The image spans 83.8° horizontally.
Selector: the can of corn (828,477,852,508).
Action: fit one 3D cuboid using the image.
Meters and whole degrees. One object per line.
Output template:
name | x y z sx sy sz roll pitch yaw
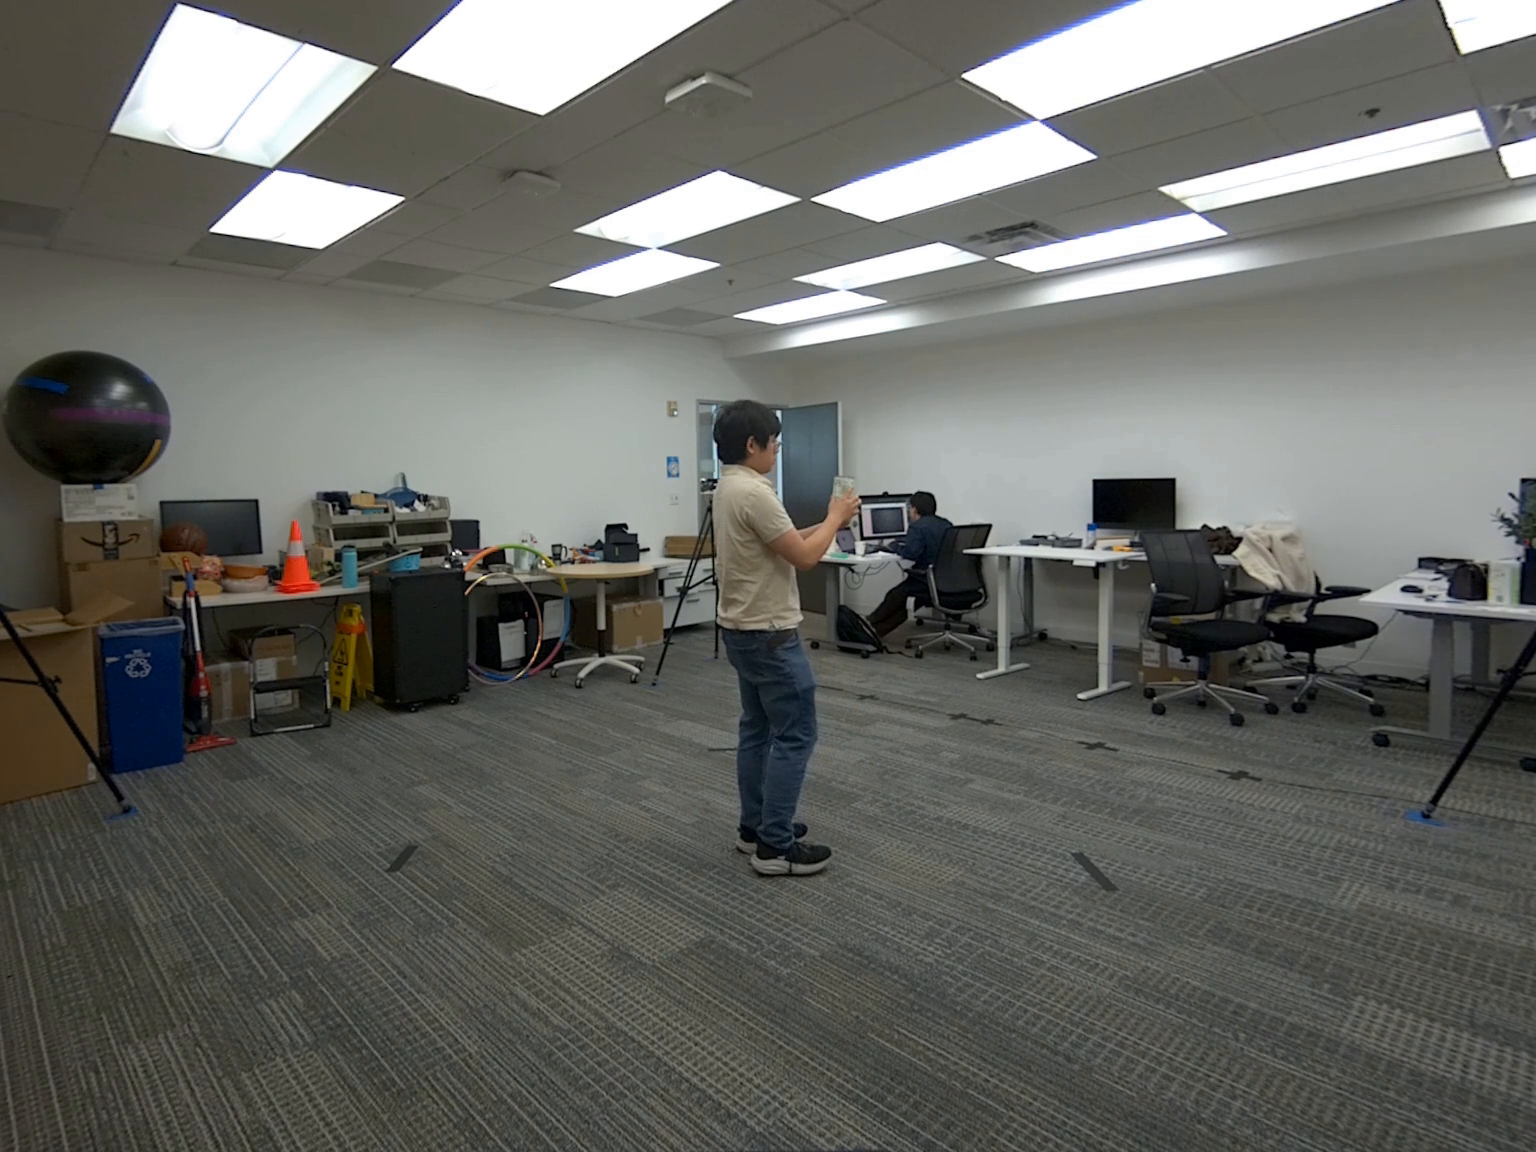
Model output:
can of corn | 0.270 -0.316 3.227 0.074 0.111 0.074 1 3 -2
